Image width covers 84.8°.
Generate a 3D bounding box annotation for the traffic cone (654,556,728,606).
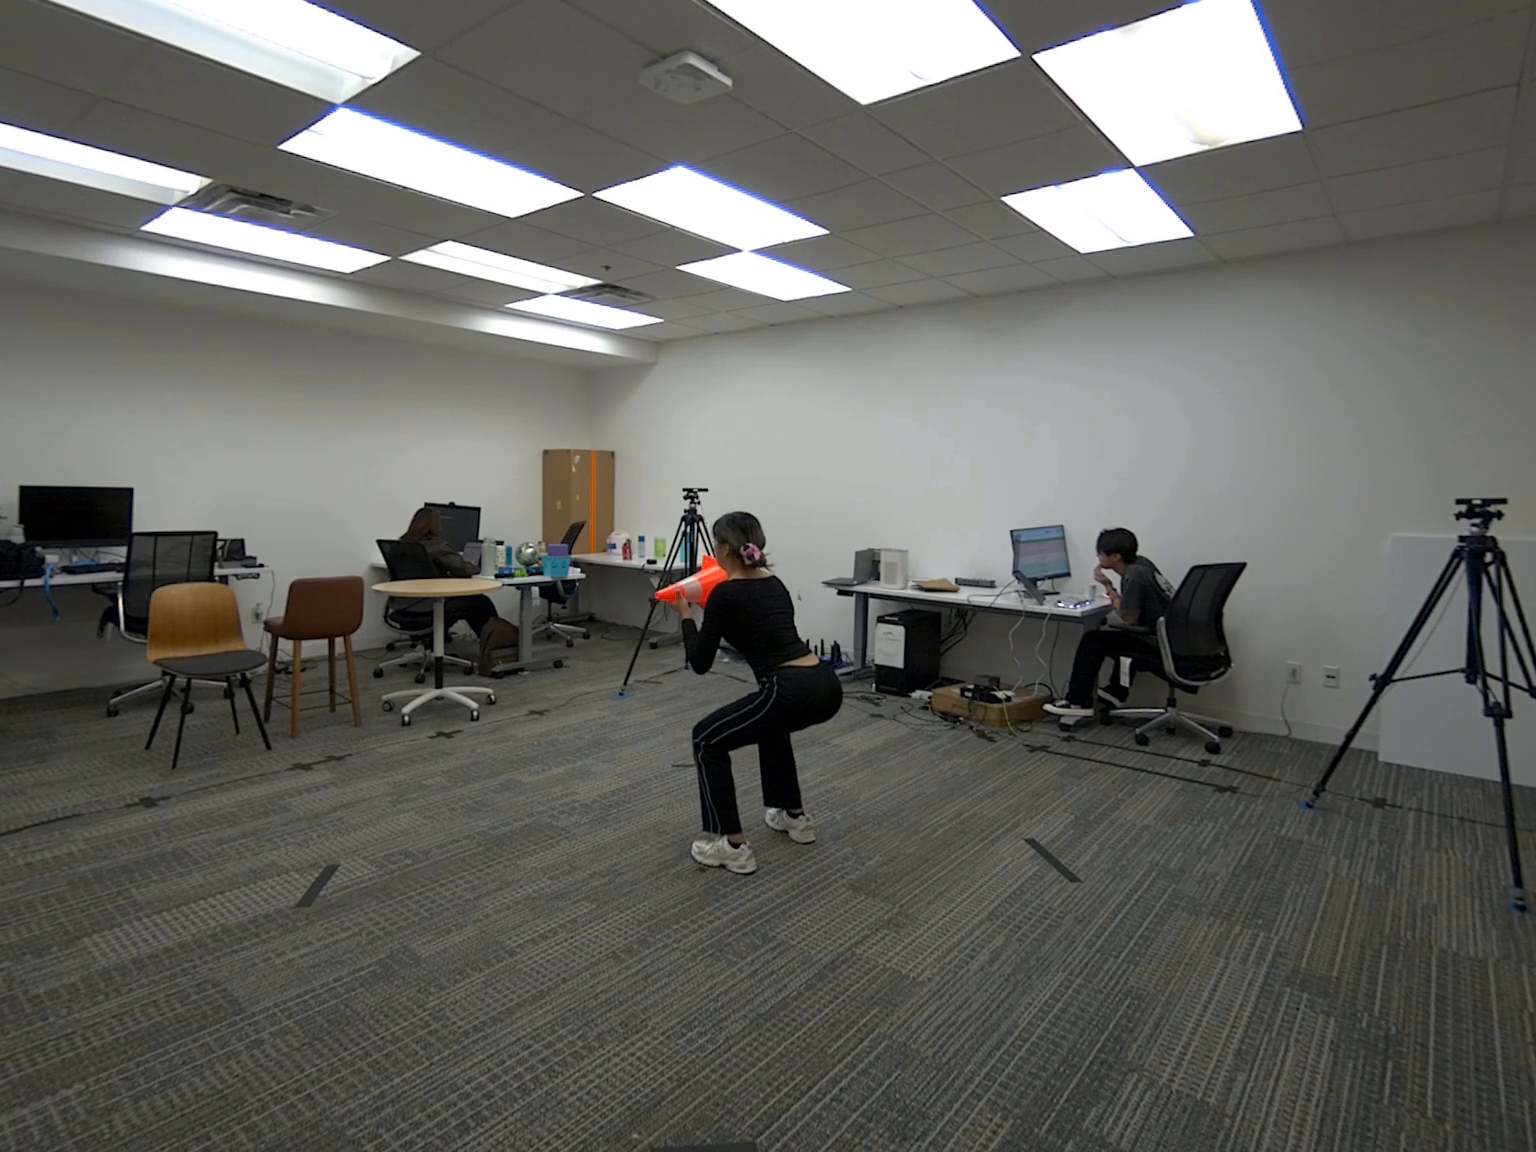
[{"bbox_3d":[-0.328,0.050,3.476,0.211,0.202,0.374,22,19,32],"label":"traffic cone"}]
